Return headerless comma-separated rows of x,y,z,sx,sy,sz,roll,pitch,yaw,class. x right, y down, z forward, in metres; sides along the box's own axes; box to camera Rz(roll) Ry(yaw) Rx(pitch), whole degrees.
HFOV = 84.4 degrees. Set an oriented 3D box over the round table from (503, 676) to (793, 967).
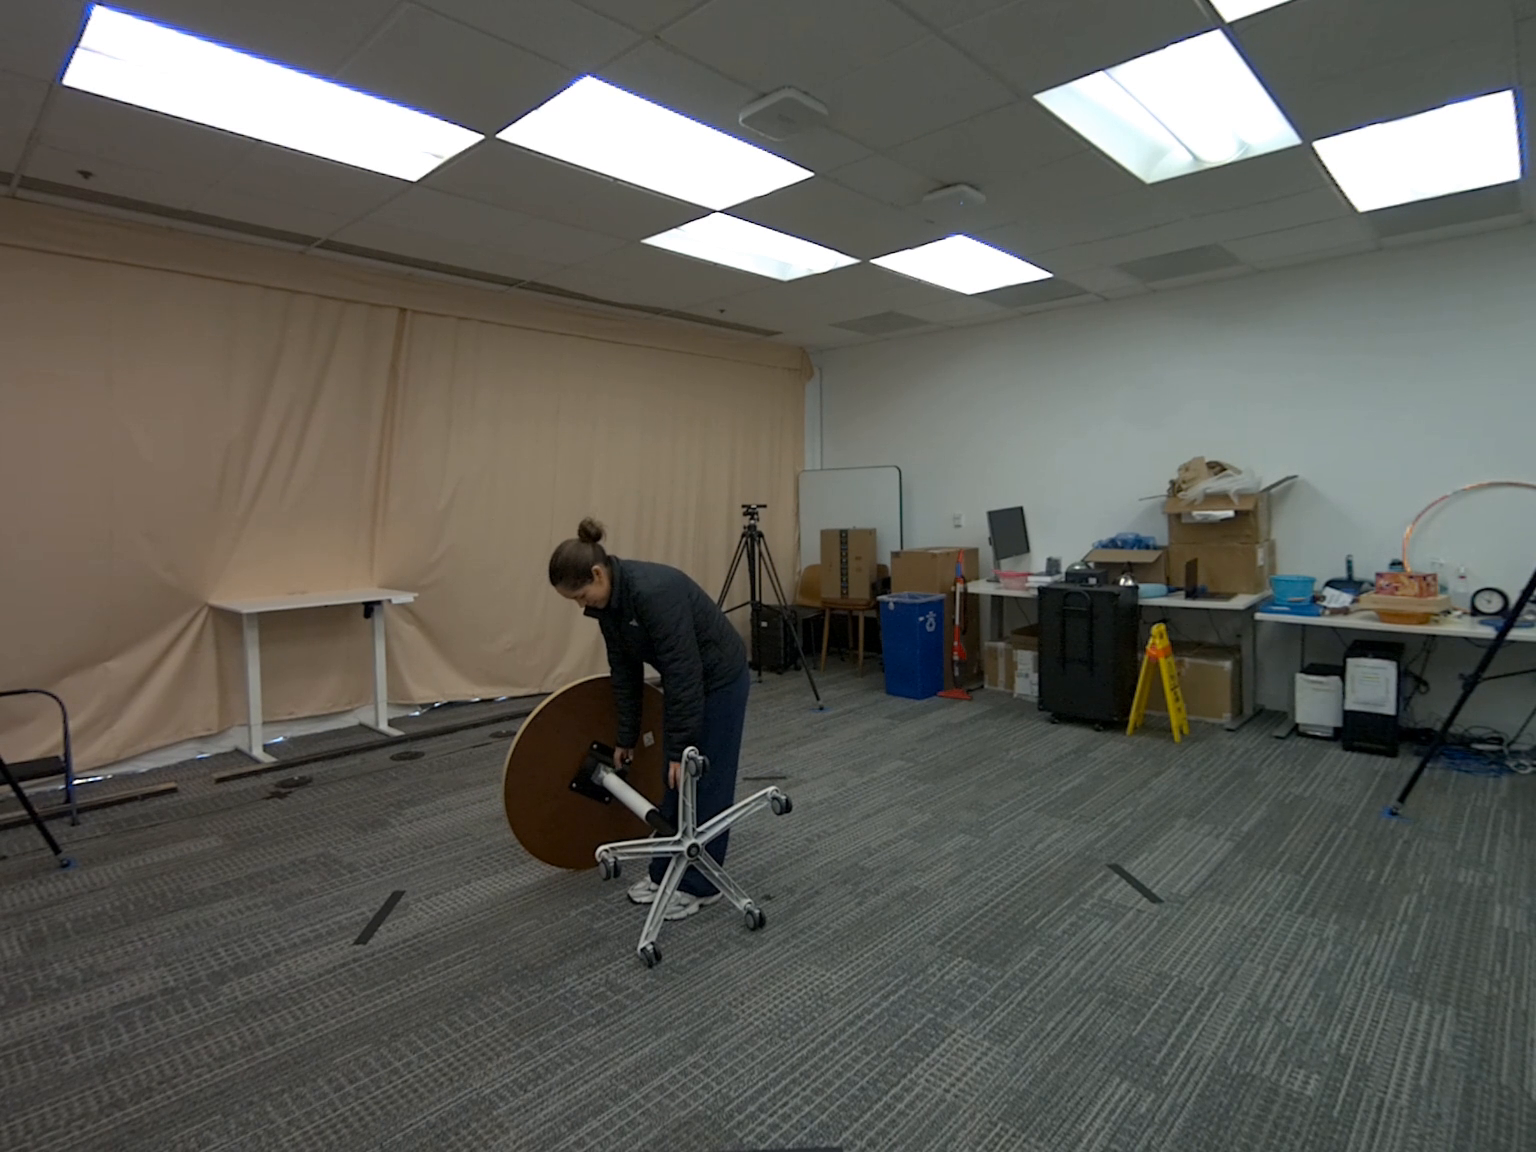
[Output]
-0.399,0.820,2.929,0.762,0.781,0.814,-4,11,-36,round table
